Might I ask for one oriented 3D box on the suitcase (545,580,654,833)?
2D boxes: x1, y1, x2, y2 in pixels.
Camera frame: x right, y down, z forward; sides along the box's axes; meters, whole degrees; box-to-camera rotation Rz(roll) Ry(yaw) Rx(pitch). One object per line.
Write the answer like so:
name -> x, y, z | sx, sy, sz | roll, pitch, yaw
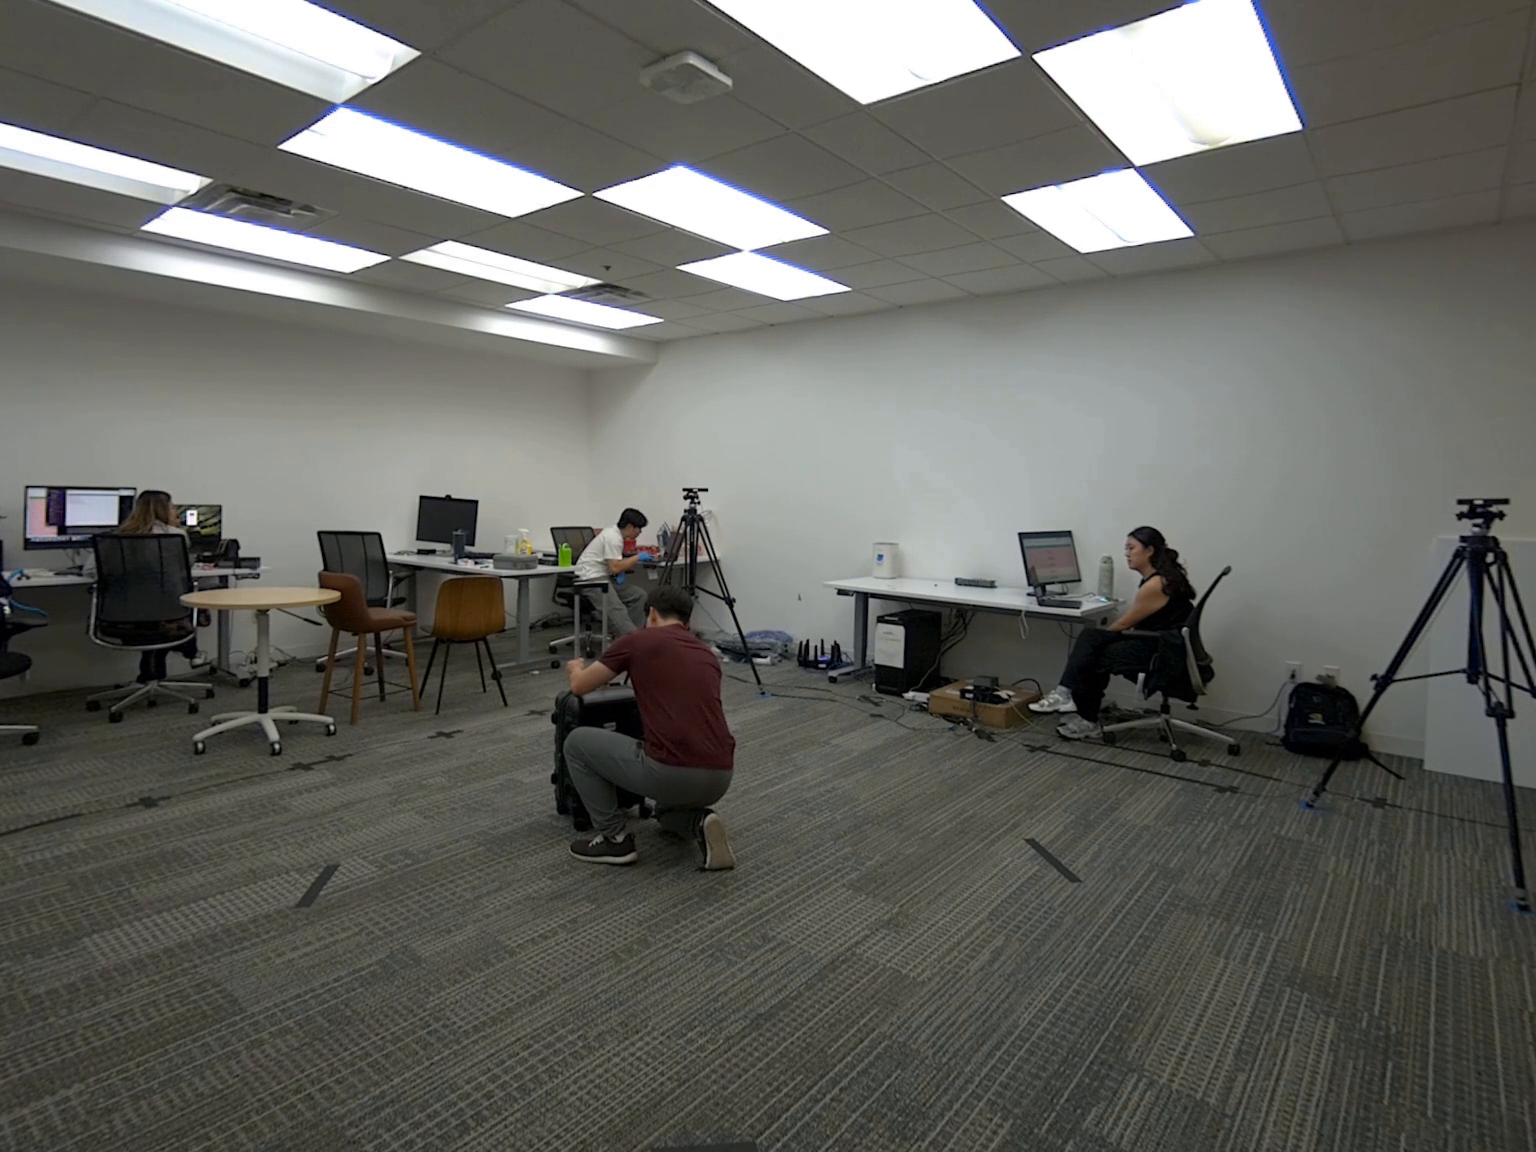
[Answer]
suitcase -> -0.717, 0.529, 3.590 | 0.374, 0.975, 0.265 | -2, 4, -30
